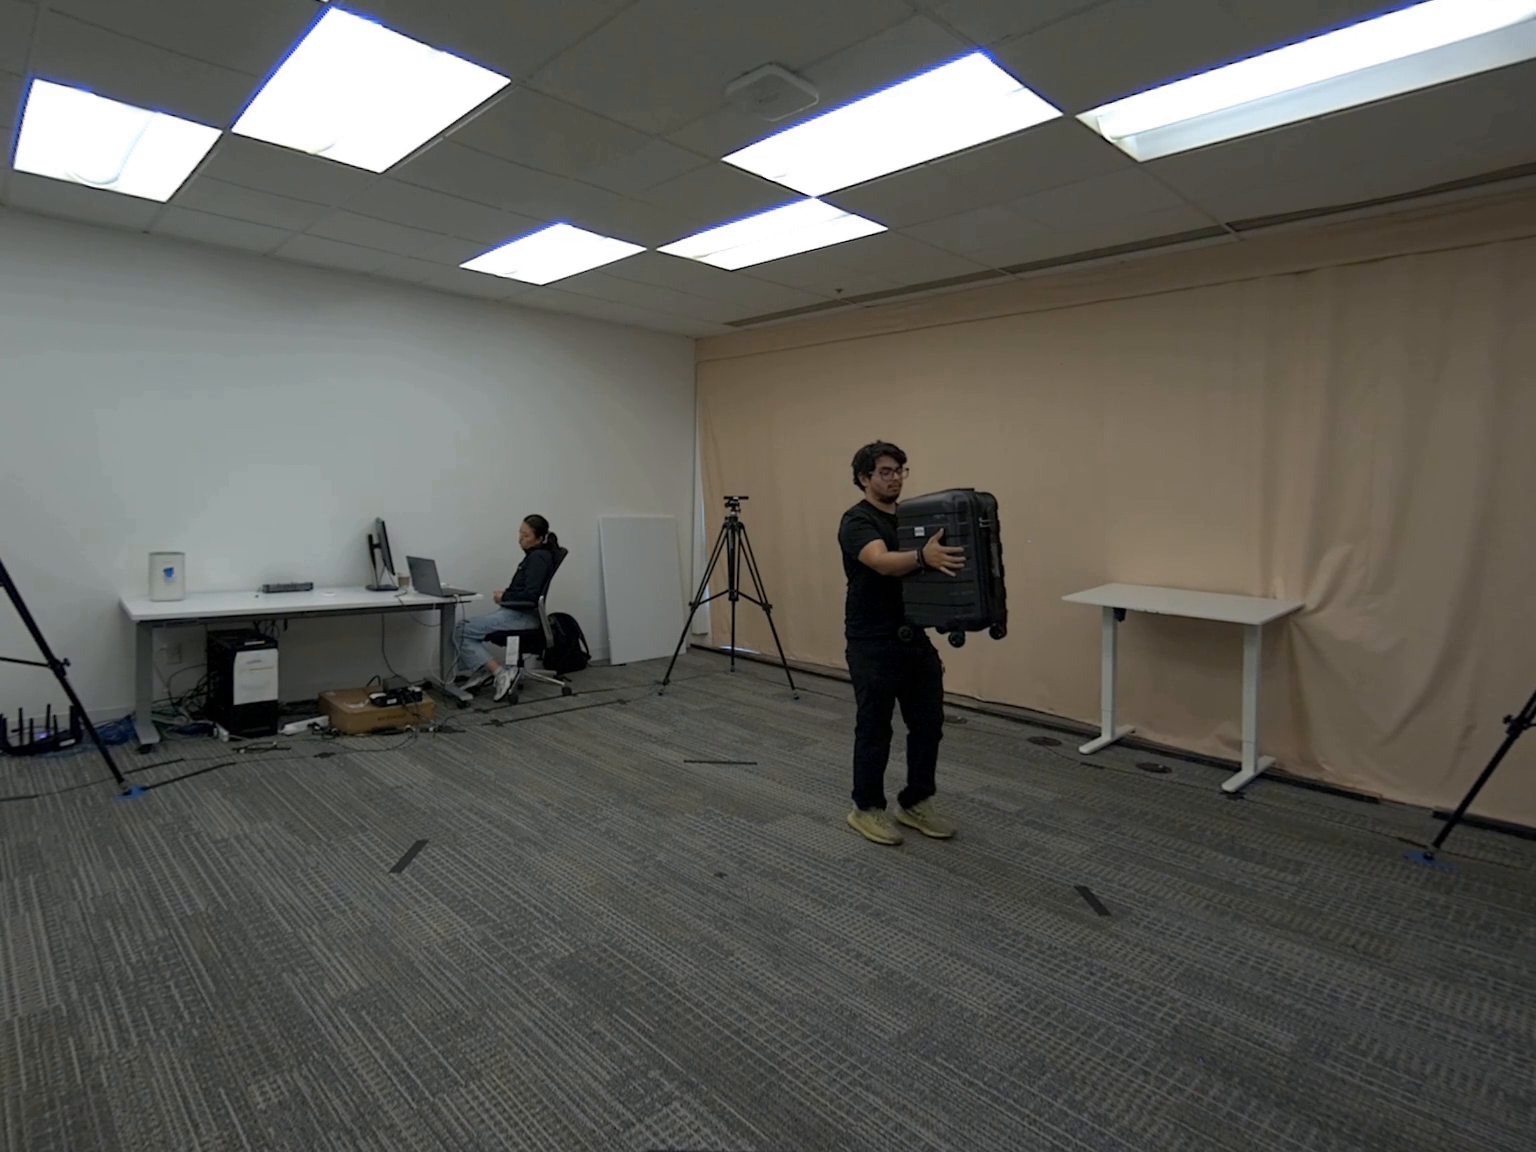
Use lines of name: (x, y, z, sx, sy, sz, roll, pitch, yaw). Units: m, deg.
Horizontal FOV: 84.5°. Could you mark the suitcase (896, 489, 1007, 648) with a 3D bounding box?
suitcase: (0.668, -0.043, 3.094, 0.244, 0.549, 0.382, -5, 2, -27)
